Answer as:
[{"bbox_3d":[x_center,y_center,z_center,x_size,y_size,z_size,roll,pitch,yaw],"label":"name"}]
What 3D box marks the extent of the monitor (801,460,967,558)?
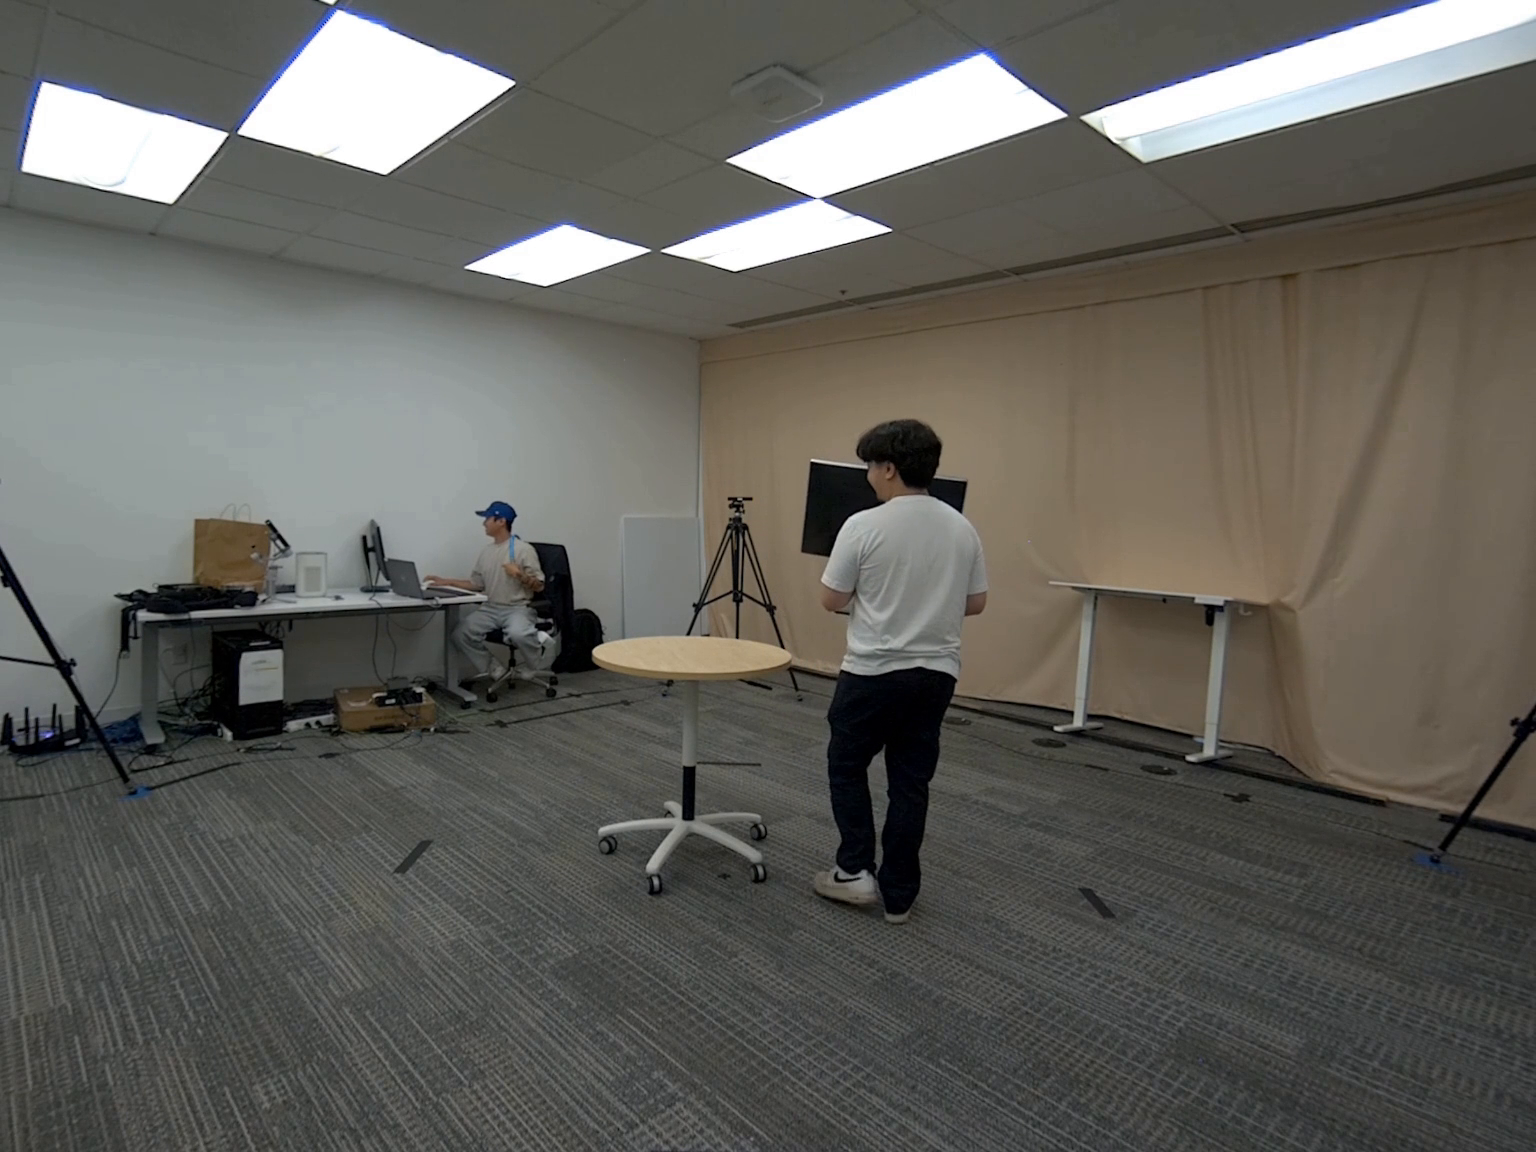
[{"bbox_3d":[0.383,-0.113,3.009,0.570,0.548,0.210,9,17,10],"label":"monitor"}]
